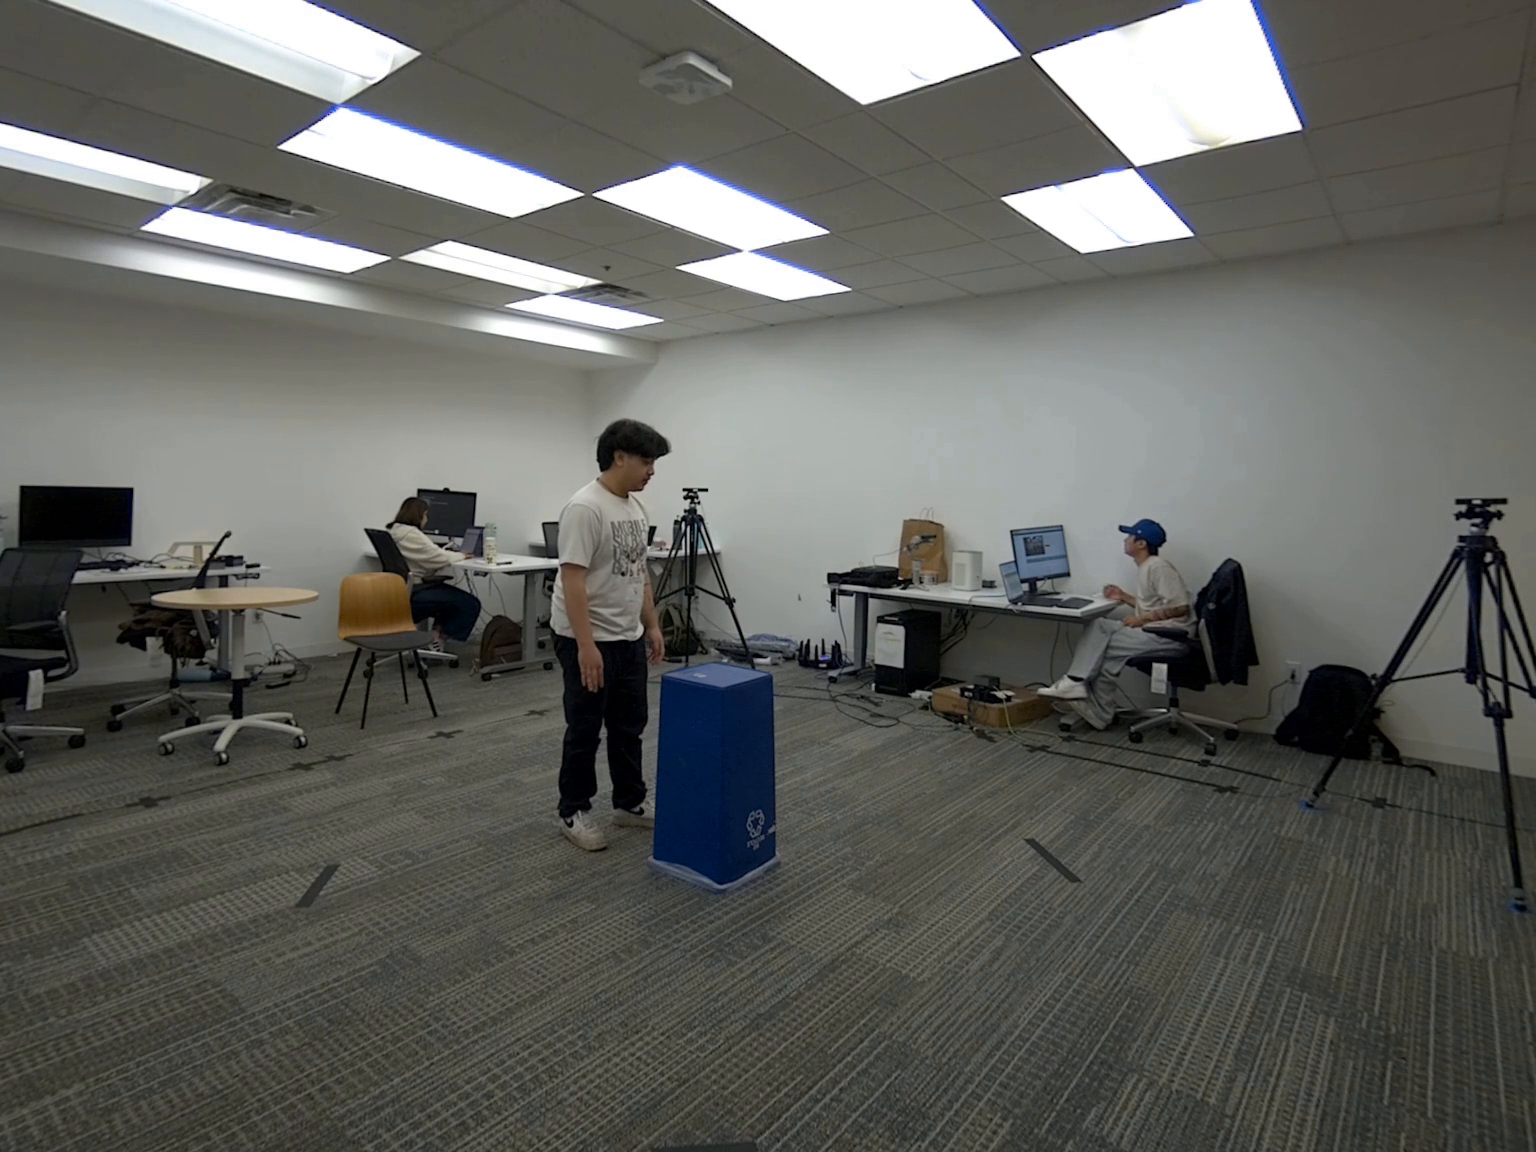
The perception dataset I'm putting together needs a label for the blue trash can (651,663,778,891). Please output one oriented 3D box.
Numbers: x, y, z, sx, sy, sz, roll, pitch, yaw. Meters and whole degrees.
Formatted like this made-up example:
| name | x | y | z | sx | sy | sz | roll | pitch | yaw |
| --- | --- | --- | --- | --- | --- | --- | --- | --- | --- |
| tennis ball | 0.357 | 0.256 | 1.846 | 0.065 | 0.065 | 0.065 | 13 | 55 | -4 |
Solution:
| name | x | y | z | sx | sy | sz | roll | pitch | yaw |
| --- | --- | --- | --- | --- | --- | --- | --- | --- | --- |
| blue trash can | -0.207 | 0.711 | 3.140 | 0.390 | 0.711 | 0.363 | 3 | 5 | 38 |
